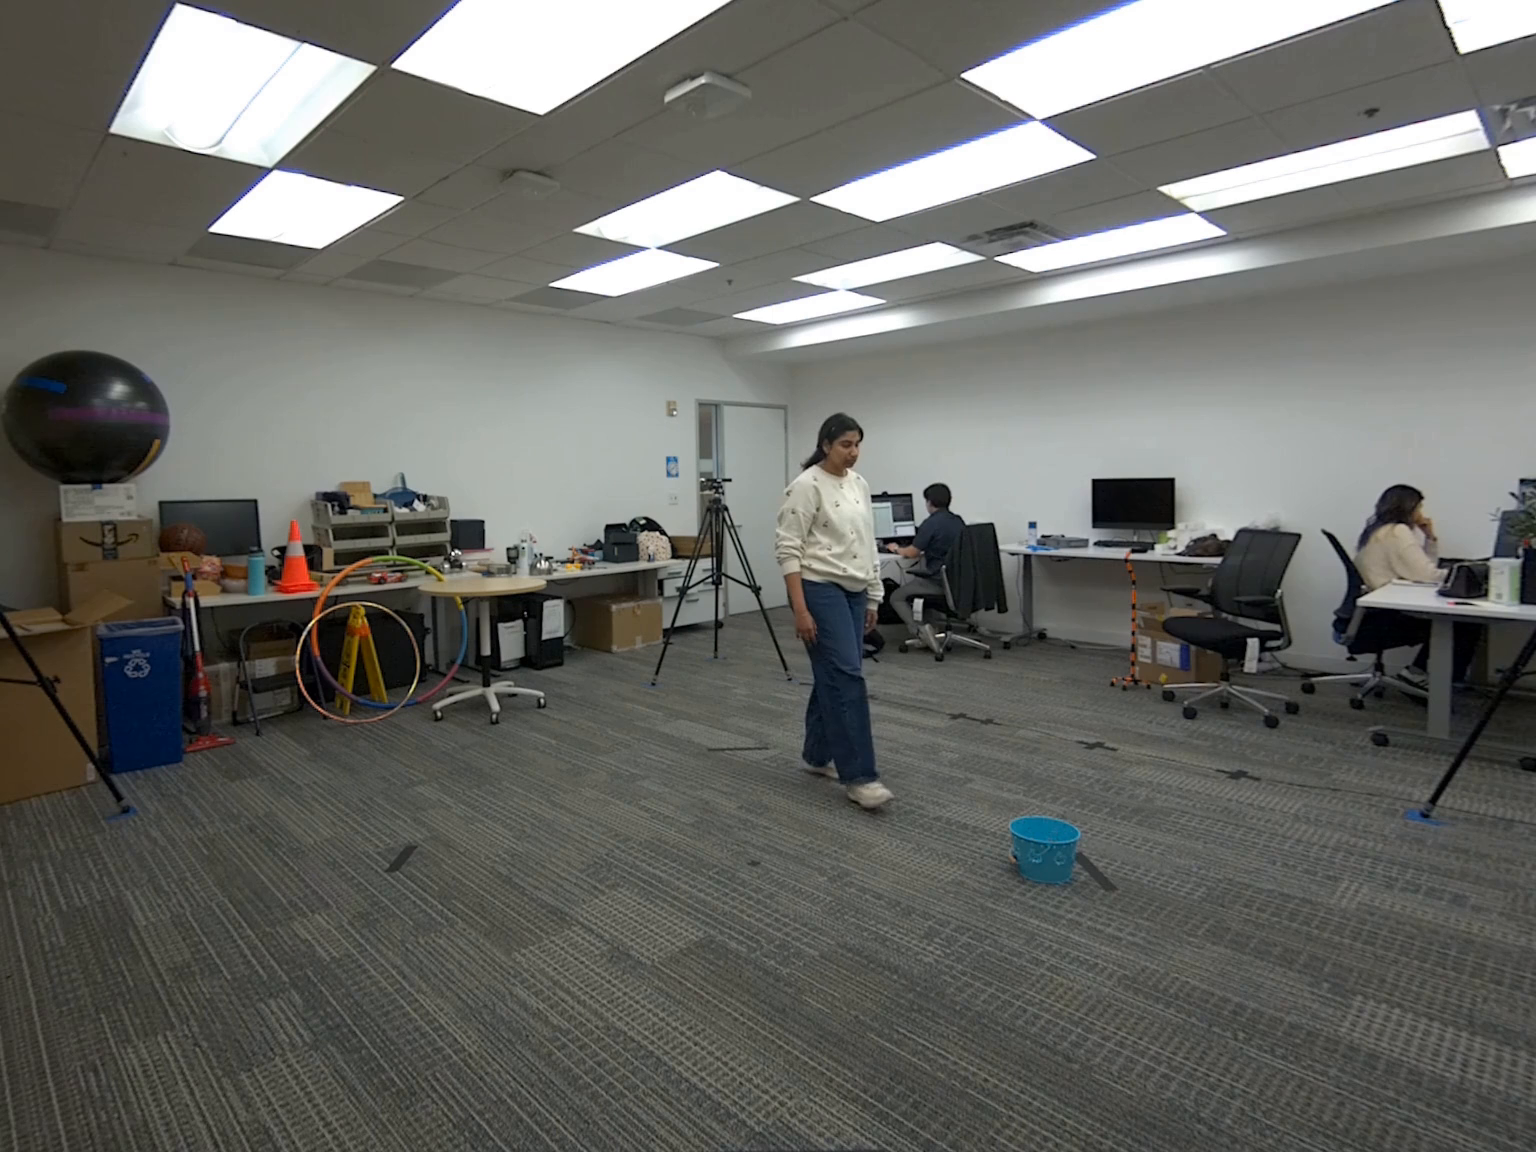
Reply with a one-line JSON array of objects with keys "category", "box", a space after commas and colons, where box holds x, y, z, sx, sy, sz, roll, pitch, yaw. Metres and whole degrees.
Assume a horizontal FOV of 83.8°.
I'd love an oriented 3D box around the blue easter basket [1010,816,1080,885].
[{"category": "blue easter basket", "box": [0.969, 0.962, 2.990, 0.243, 0.155, 0.245, -2, 5, -2]}]
